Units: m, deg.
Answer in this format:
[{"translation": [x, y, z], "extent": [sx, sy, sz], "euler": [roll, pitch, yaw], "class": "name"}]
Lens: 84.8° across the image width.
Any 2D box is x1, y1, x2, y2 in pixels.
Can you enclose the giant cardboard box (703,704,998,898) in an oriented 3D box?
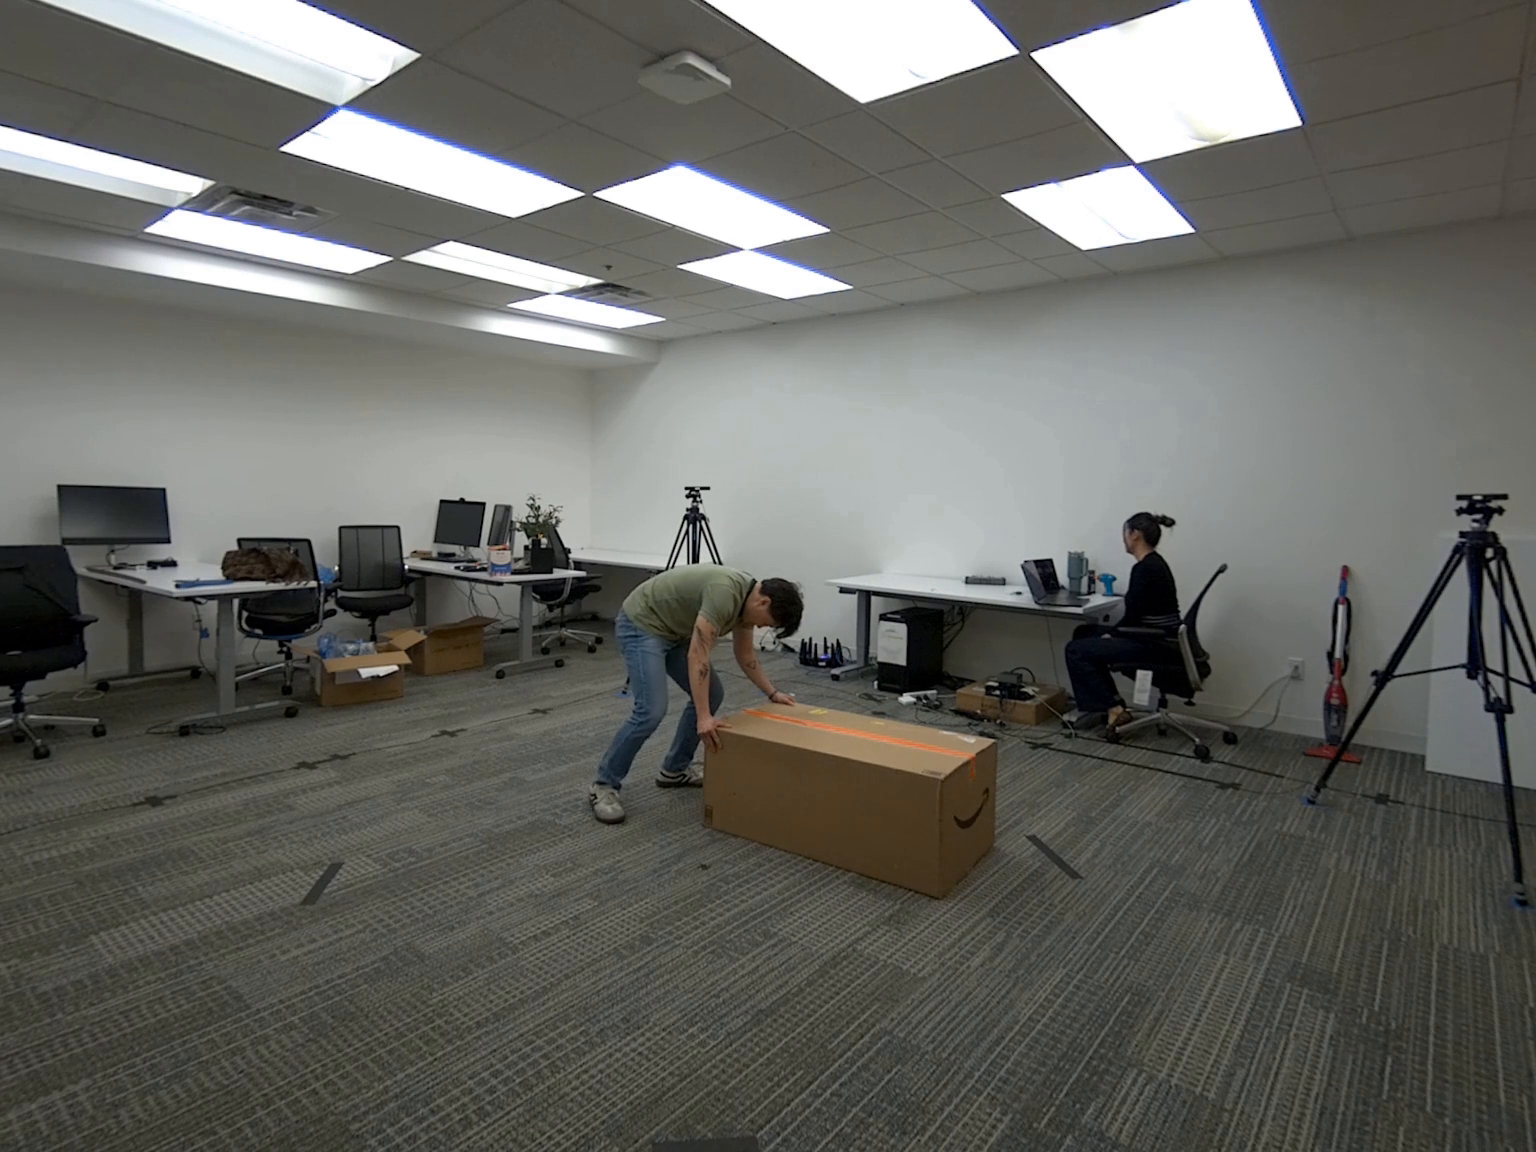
[{"translation": [0.308, 0.830, 3.410], "extent": [1.059, 0.425, 0.561], "euler": [4, 5, 35], "class": "giant cardboard box"}]
